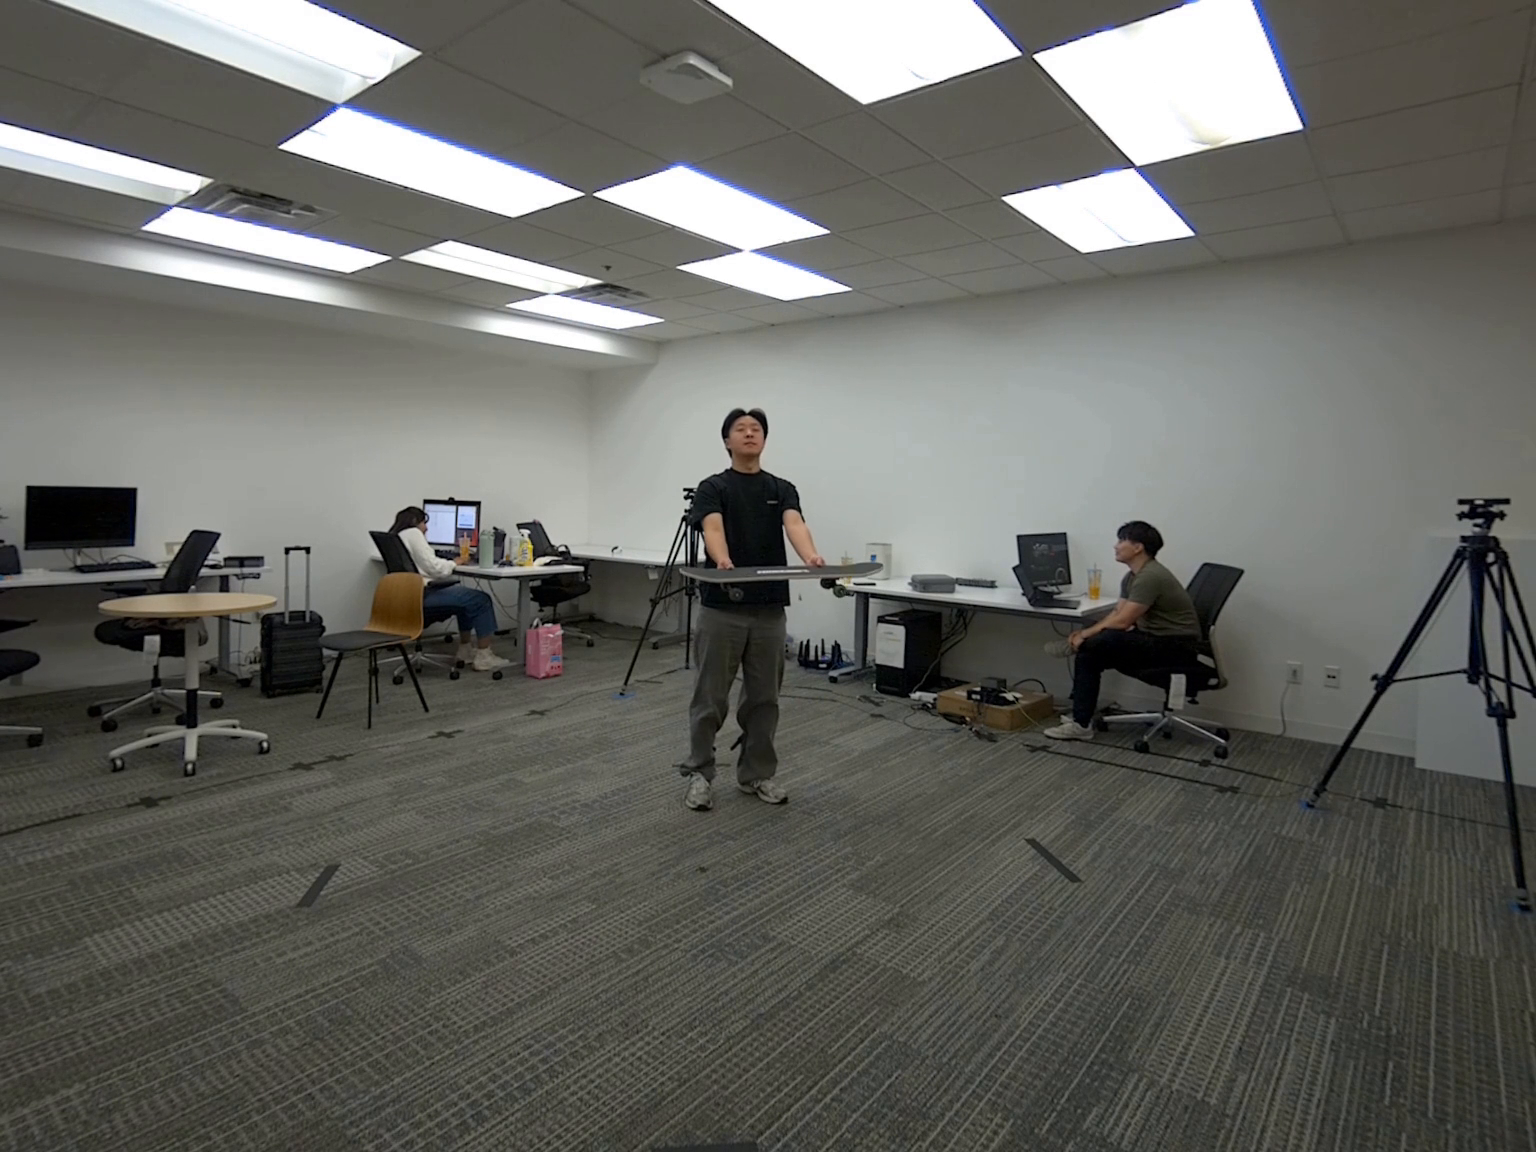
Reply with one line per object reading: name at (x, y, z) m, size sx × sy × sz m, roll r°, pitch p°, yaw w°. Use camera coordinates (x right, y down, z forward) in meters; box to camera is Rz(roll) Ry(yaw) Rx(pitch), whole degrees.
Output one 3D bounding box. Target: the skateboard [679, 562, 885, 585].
skateboard at (0.034, 0.030, 3.227) m, size 0.777 × 0.109 × 0.197 m, roll -2°, pitch 10°, yaw -10°
